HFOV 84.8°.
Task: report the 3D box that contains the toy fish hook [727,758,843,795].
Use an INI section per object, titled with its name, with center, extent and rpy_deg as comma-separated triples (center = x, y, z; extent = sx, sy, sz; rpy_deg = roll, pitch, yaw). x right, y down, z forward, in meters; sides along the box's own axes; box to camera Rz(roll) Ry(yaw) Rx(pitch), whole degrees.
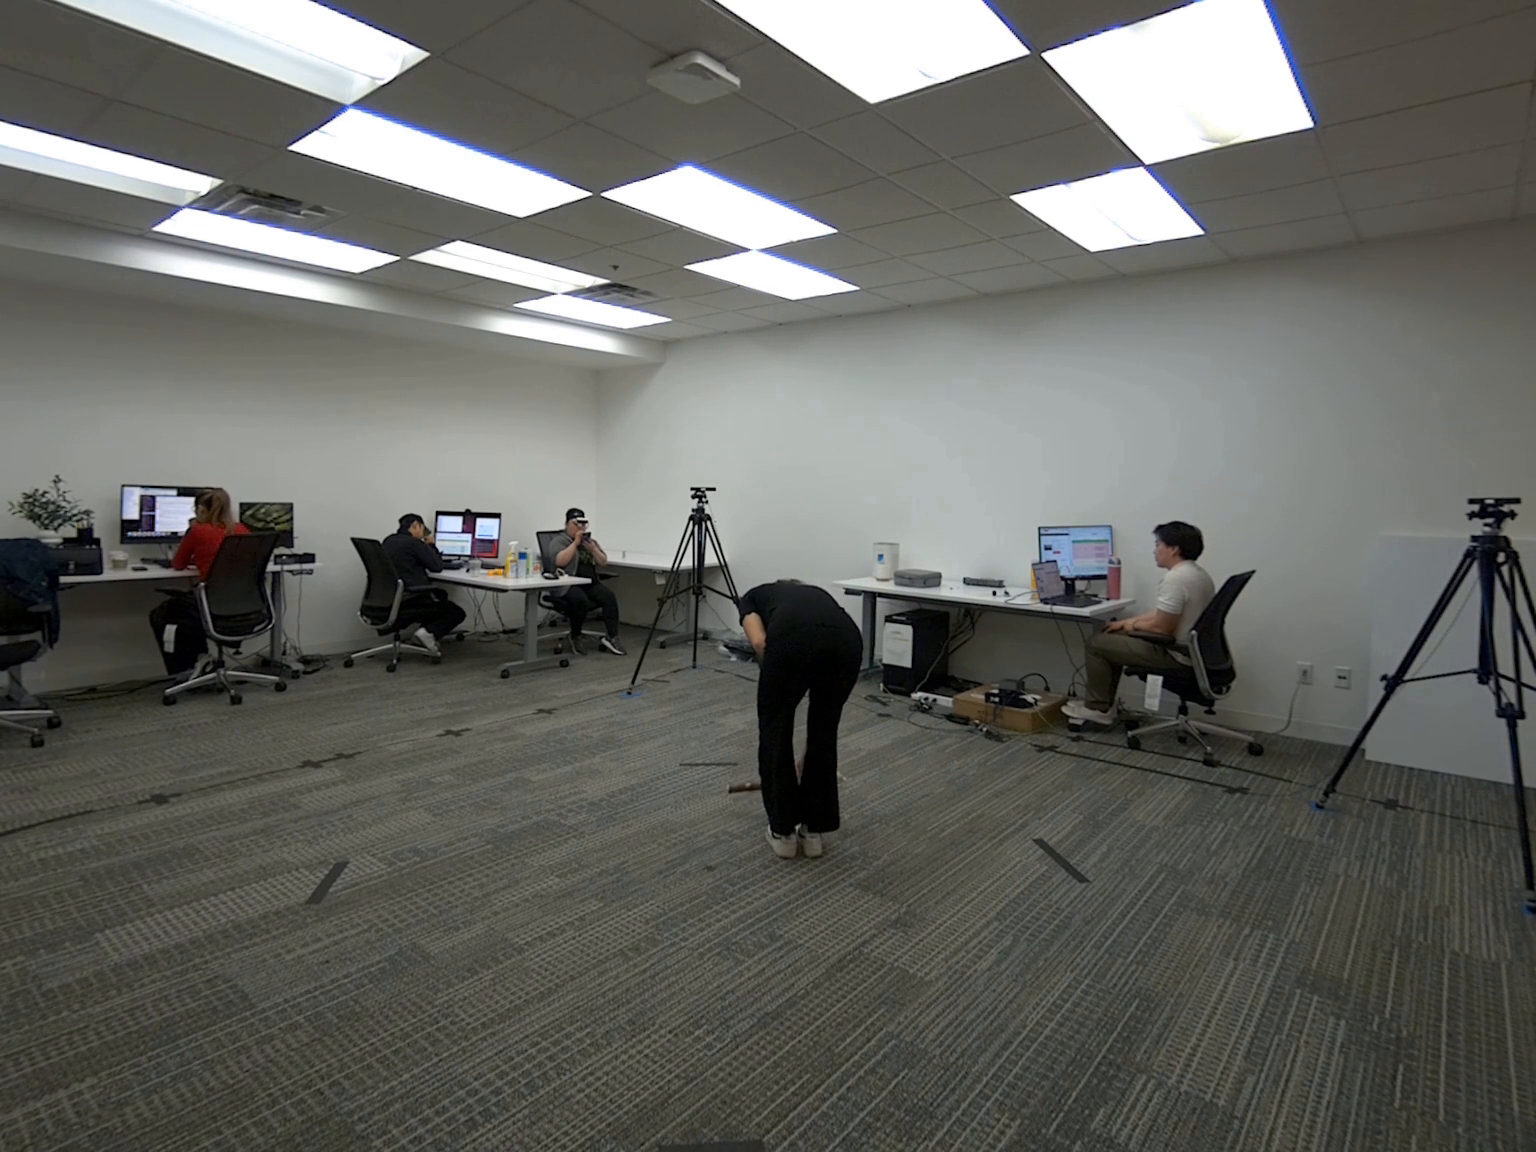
[toy fish hook]
center = 0.061, 0.894, 3.639
extent = 0.514, 0.049, 0.215
rpy_deg = -11, -32, 17
